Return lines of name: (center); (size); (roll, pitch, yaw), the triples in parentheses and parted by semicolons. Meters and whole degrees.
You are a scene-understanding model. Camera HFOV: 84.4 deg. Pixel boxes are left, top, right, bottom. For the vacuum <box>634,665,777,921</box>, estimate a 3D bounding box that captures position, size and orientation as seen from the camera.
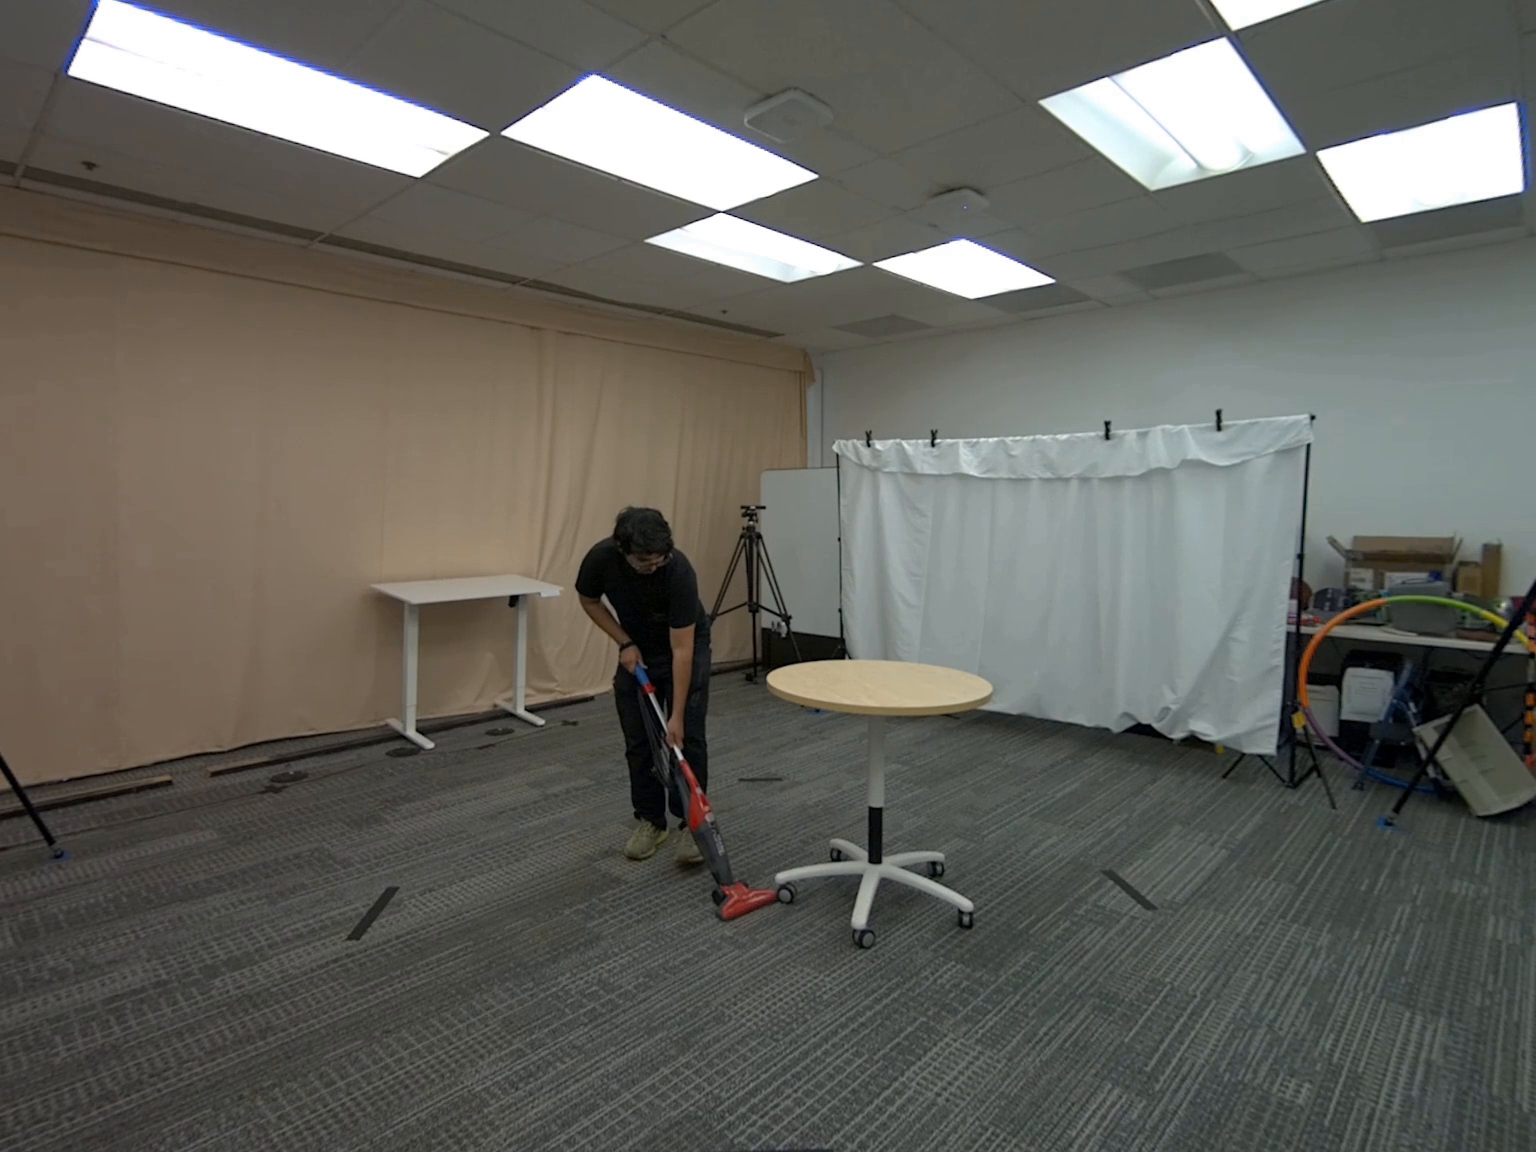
vacuum: (-0.334, 0.729, 3.166); (0.245, 1.076, 0.144); (-8, -34, -40)
